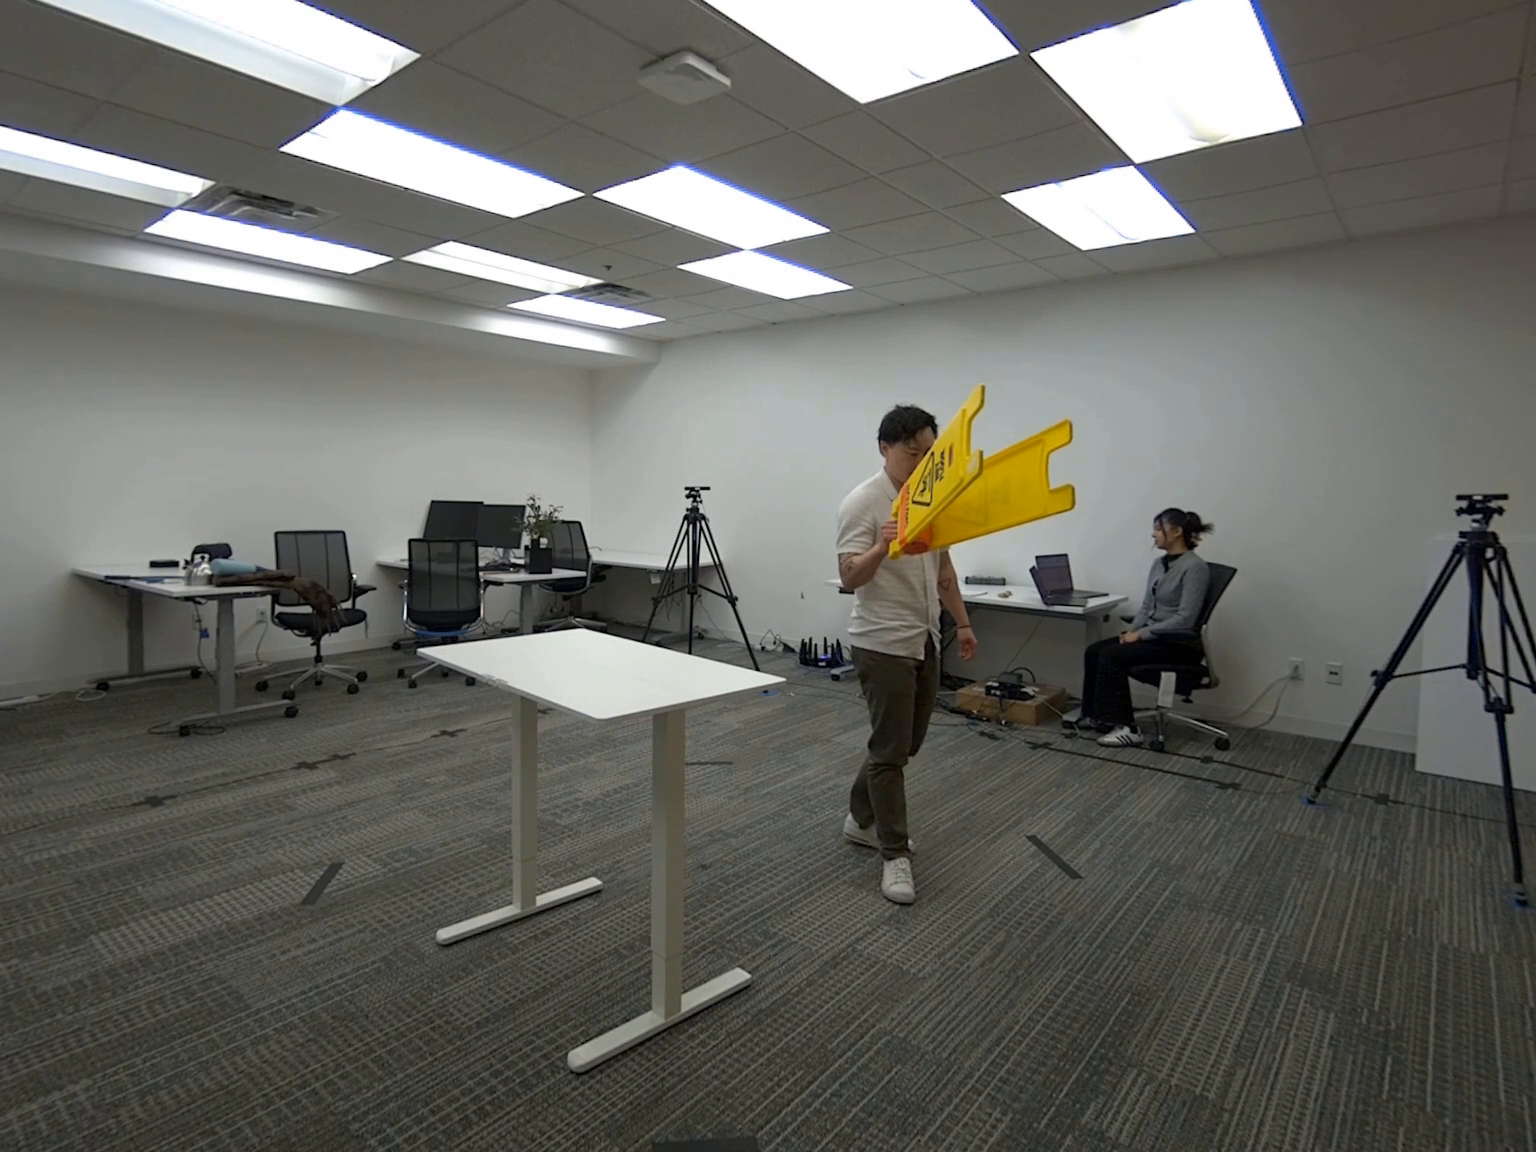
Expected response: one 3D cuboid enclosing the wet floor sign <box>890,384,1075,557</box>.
[{"bbox_3d":[0.527,-0.243,2.475,0.283,0.287,0.649,19,-27,-20],"label":"wet floor sign"}]
